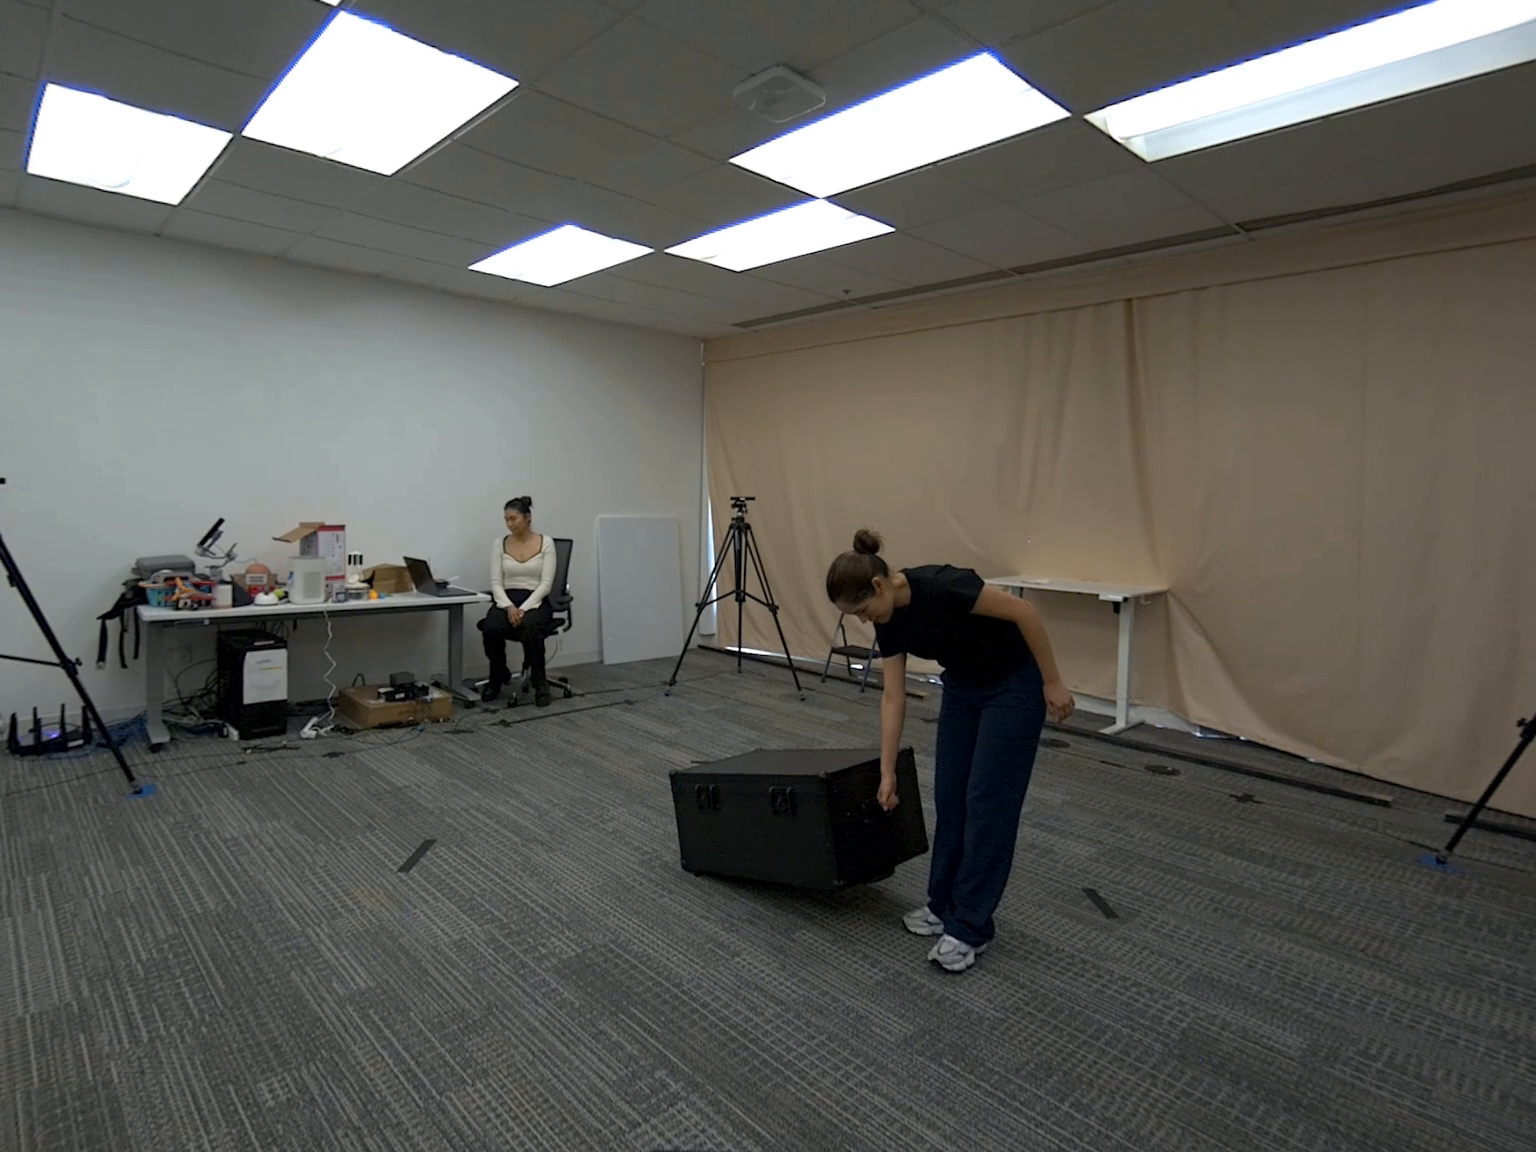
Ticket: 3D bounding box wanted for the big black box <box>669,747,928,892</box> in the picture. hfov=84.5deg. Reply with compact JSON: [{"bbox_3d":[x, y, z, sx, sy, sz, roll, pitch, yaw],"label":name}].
[{"bbox_3d":[0.059,0.843,3.056,0.509,0.398,0.877,-3,-6,-45],"label":"big black box"}]
